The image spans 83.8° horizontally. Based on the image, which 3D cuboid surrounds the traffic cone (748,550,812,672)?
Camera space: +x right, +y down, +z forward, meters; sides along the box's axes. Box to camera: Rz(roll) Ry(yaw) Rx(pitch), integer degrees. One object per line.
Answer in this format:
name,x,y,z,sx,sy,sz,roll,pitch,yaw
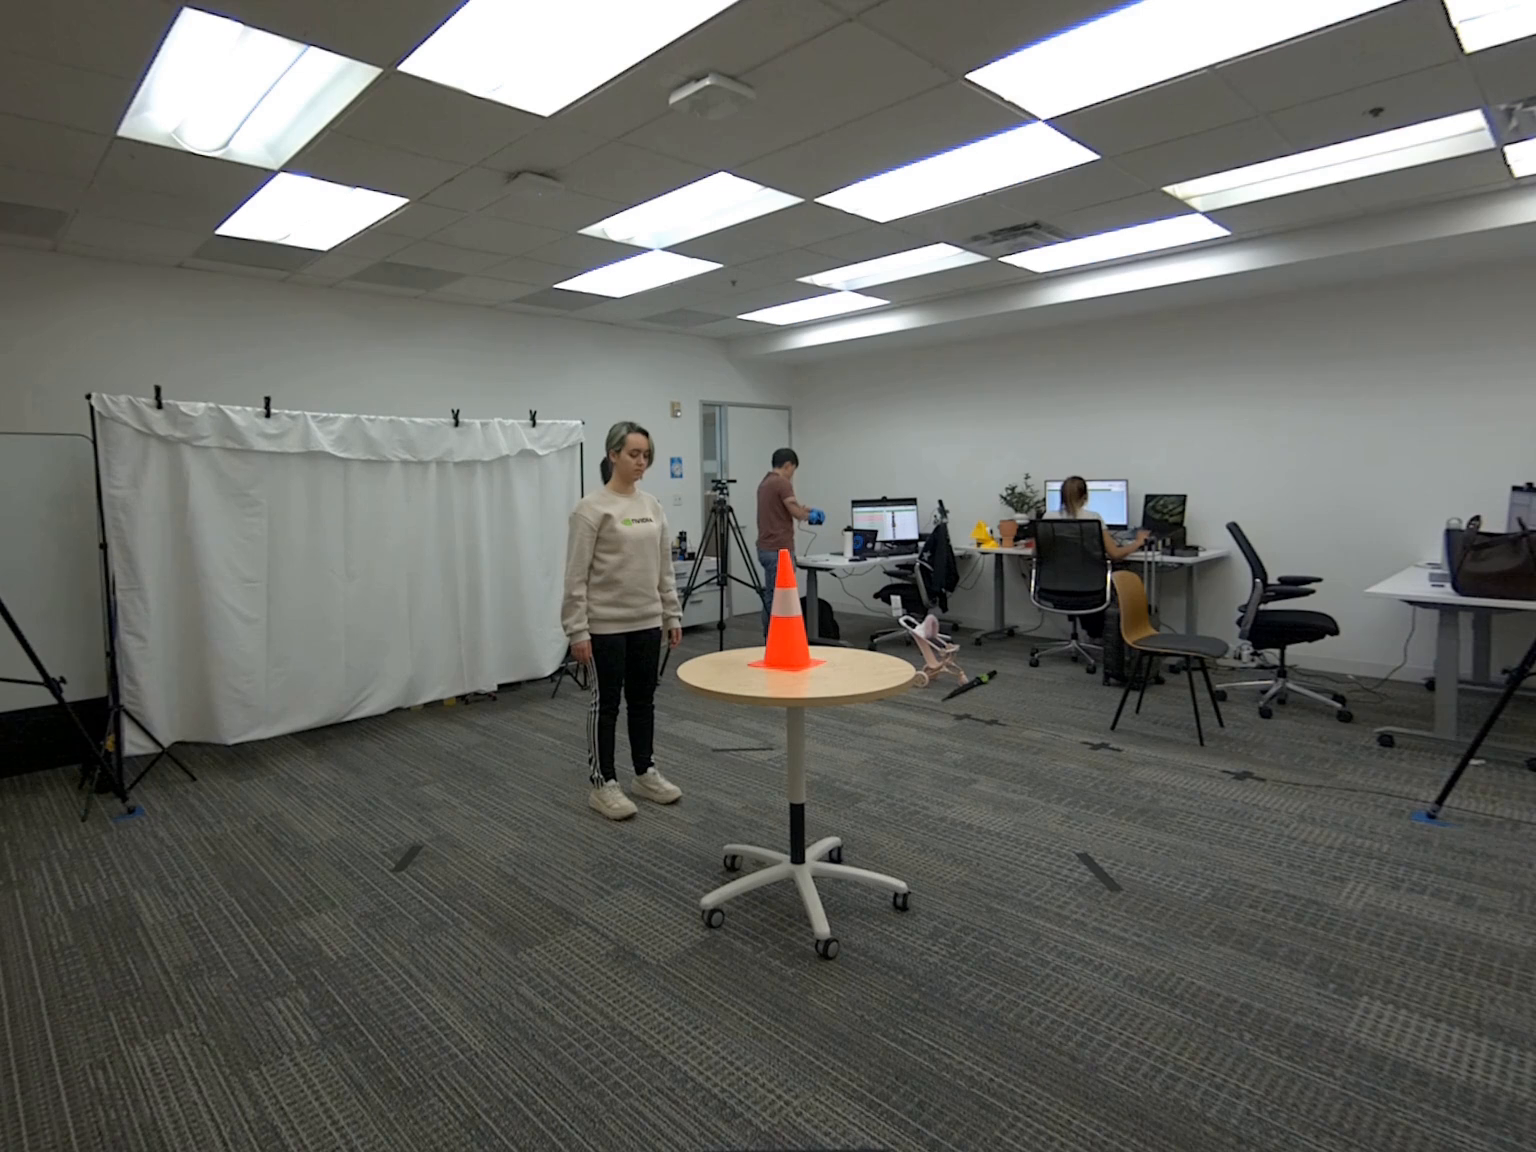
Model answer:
traffic cone,0.062,0.106,2.830,0.209,0.382,0.200,1,6,36
